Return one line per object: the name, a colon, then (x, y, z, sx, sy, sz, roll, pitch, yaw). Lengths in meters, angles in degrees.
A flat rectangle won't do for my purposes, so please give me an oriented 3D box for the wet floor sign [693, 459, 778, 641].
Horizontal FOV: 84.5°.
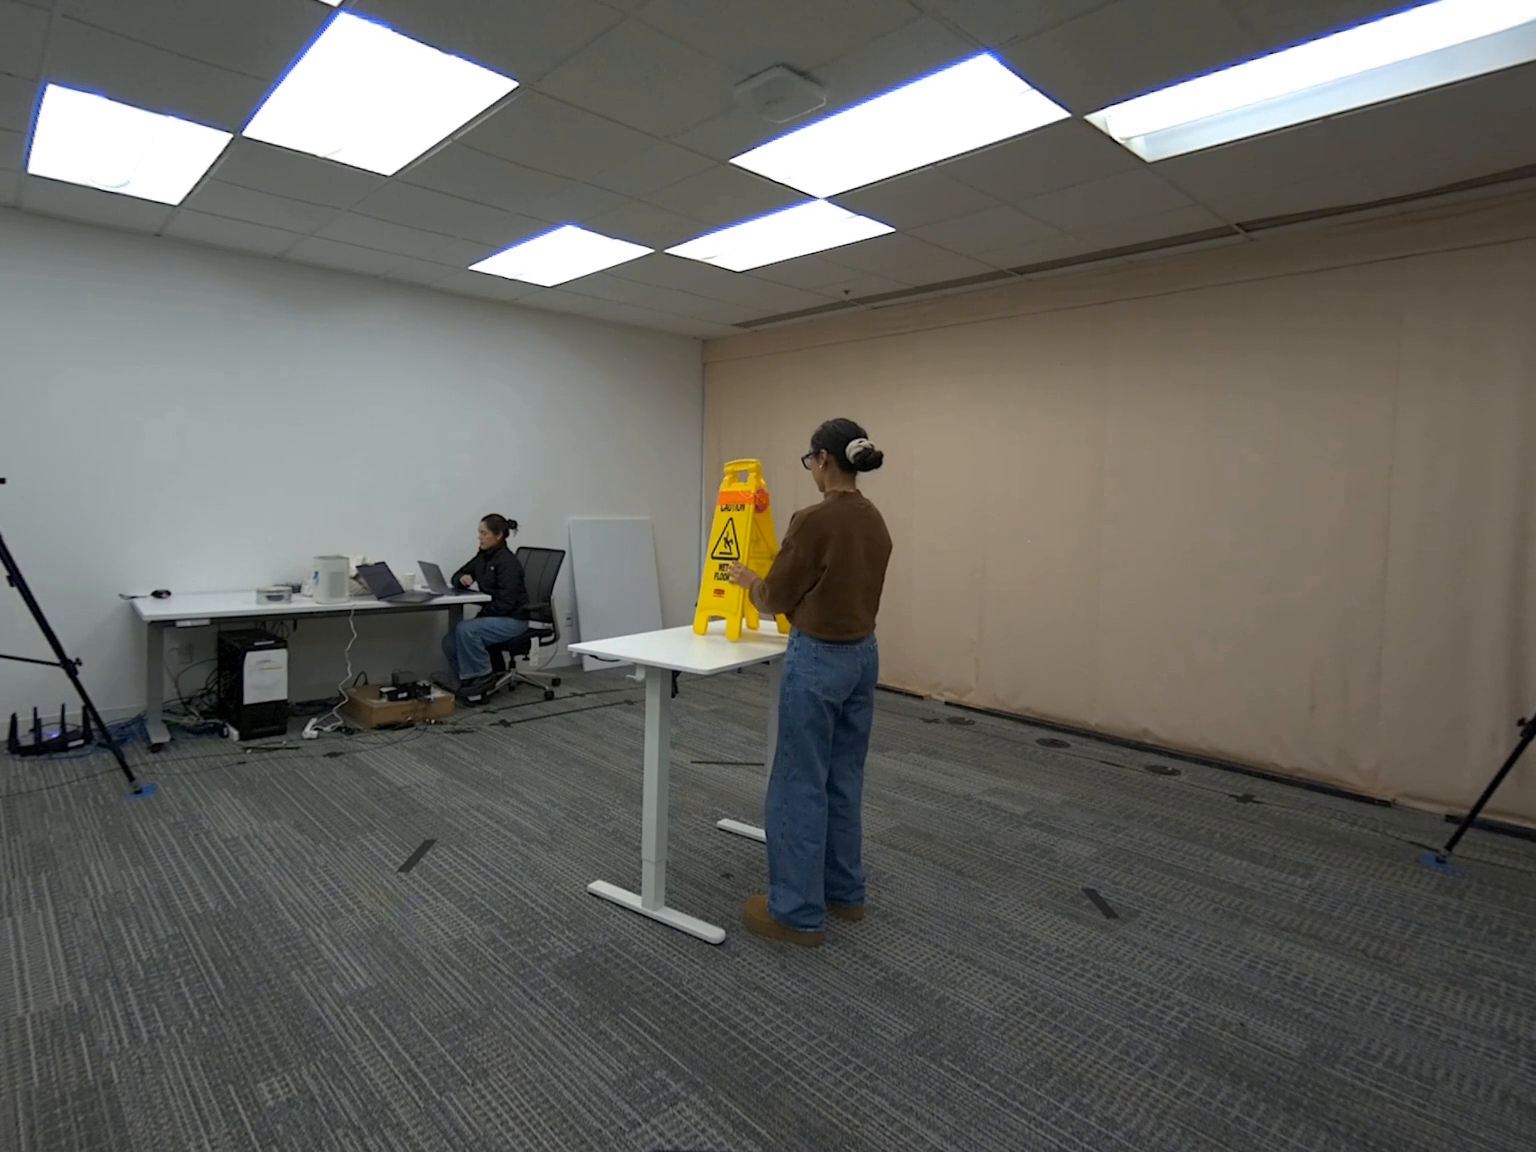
wet floor sign: (-0.104, -0.105, 3.145, 0.283, 0.645, 0.289, -2, 2, -37)
